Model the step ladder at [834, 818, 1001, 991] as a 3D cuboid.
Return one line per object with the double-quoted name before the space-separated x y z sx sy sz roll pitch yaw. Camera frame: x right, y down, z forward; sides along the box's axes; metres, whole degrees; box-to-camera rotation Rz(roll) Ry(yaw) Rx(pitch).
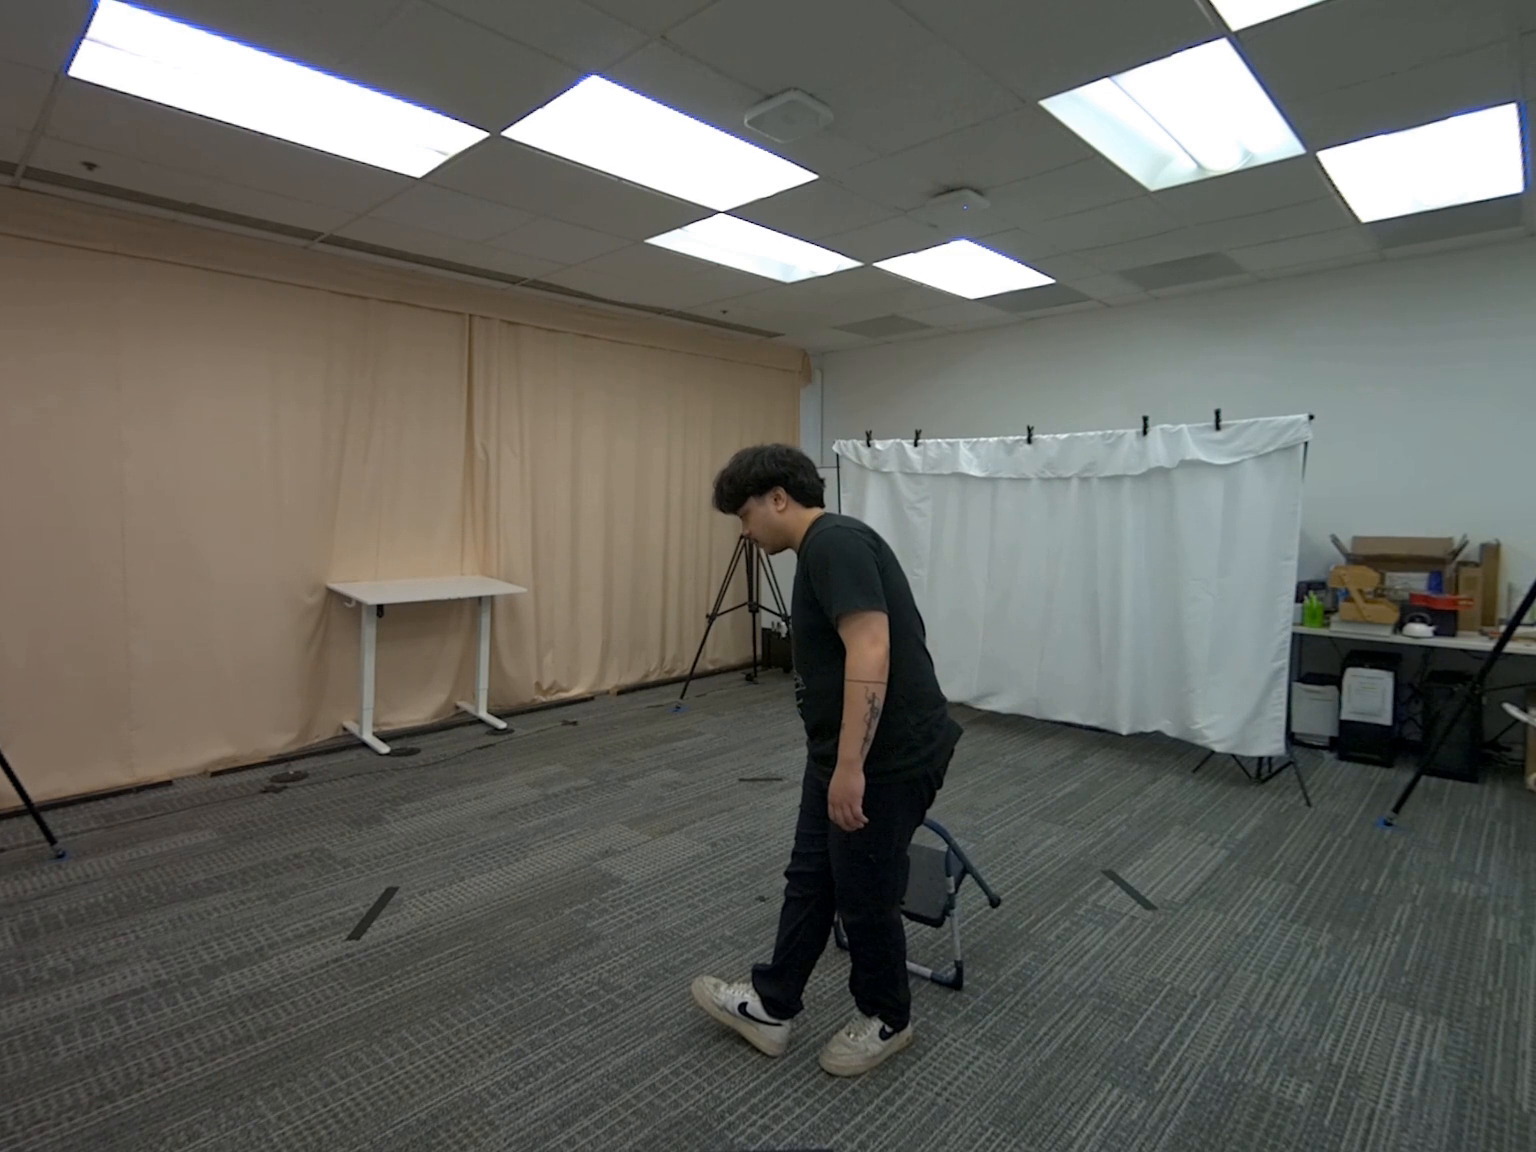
"step ladder" 0.398 0.843 2.527 0.444 0.593 0.346 2 32 36
